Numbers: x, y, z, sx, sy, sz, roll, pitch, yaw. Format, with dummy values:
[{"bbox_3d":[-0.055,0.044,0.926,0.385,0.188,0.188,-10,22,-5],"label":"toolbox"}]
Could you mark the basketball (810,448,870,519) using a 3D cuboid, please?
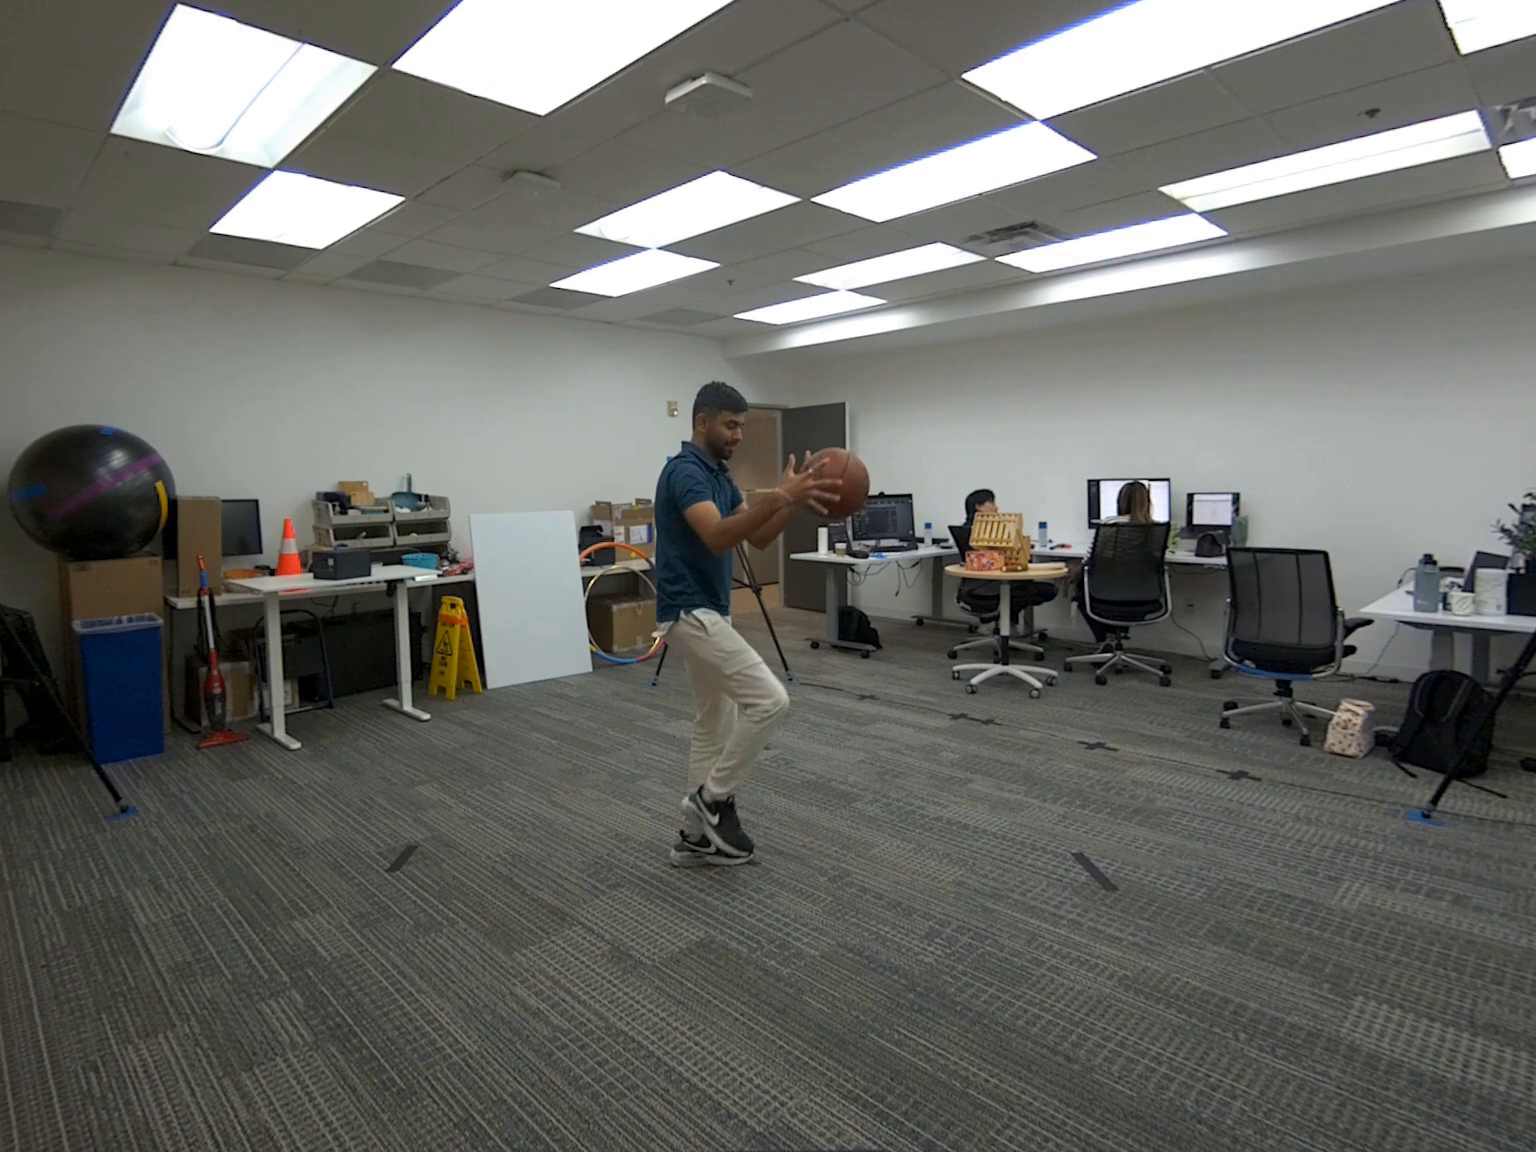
[{"bbox_3d":[0.222,-0.277,2.831,0.236,0.235,0.237,-1,5,-2],"label":"basketball"}]
